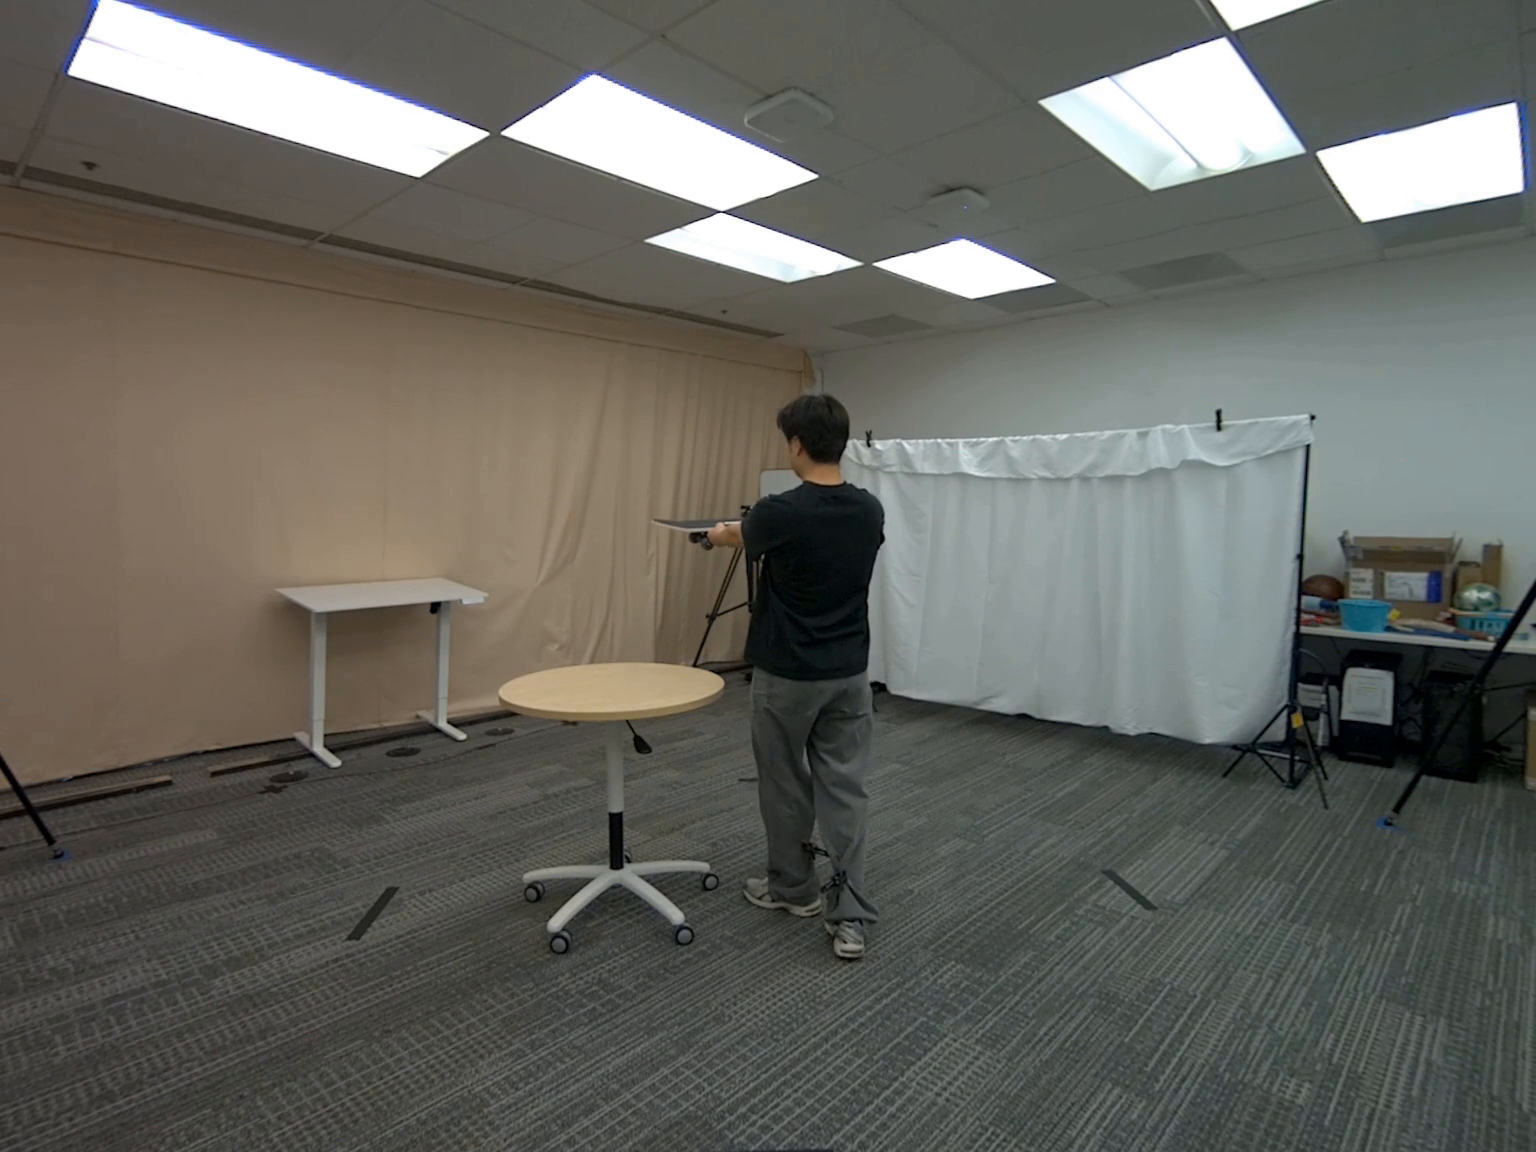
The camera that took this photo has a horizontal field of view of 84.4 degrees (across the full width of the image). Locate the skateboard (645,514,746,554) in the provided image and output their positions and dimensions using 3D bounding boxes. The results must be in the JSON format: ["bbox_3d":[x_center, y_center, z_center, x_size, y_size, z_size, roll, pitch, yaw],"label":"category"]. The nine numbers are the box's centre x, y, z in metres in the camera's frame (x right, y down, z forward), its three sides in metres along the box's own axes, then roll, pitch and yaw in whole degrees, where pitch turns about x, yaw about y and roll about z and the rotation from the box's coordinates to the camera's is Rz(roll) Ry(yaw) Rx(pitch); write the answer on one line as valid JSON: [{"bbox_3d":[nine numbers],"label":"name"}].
[{"bbox_3d":[-0.079,-0.177,3.329,0.770,0.110,0.198,-3,11,-20],"label":"skateboard"}]
